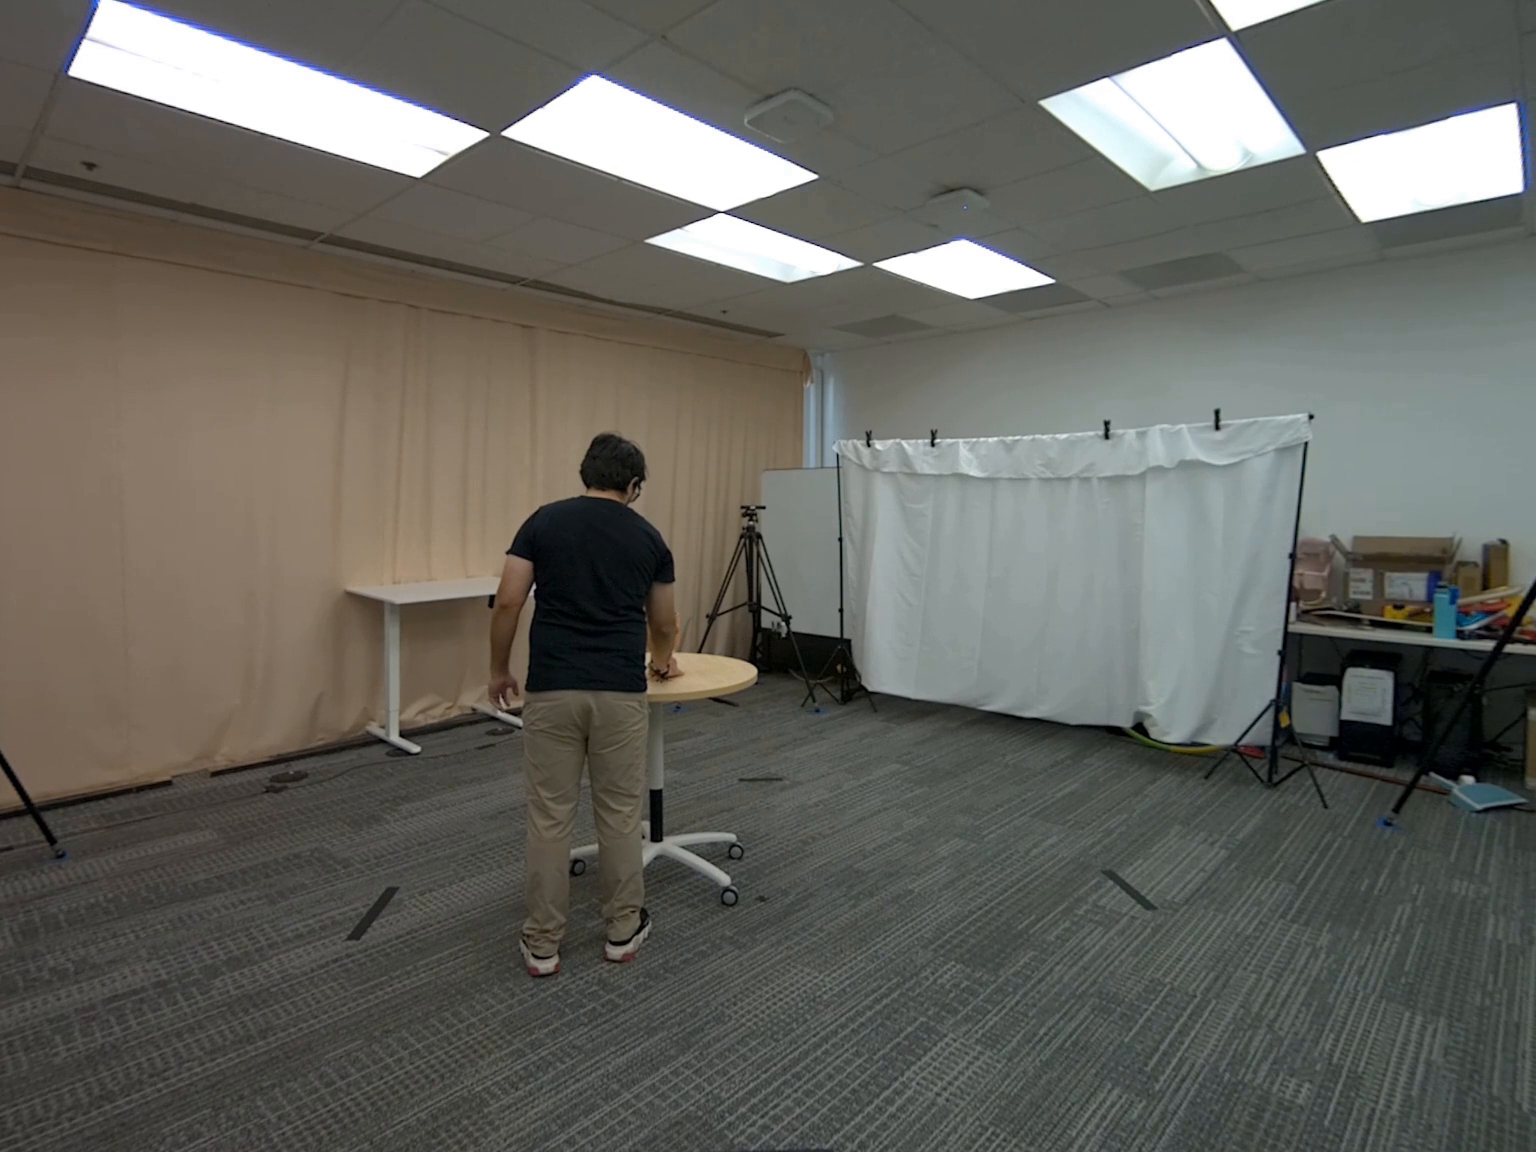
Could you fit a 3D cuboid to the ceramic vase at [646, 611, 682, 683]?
[{"bbox_3d":[-0.384,0.248,3.070,0.134,0.219,0.160,0,3,-7],"label":"ceramic vase"}]
